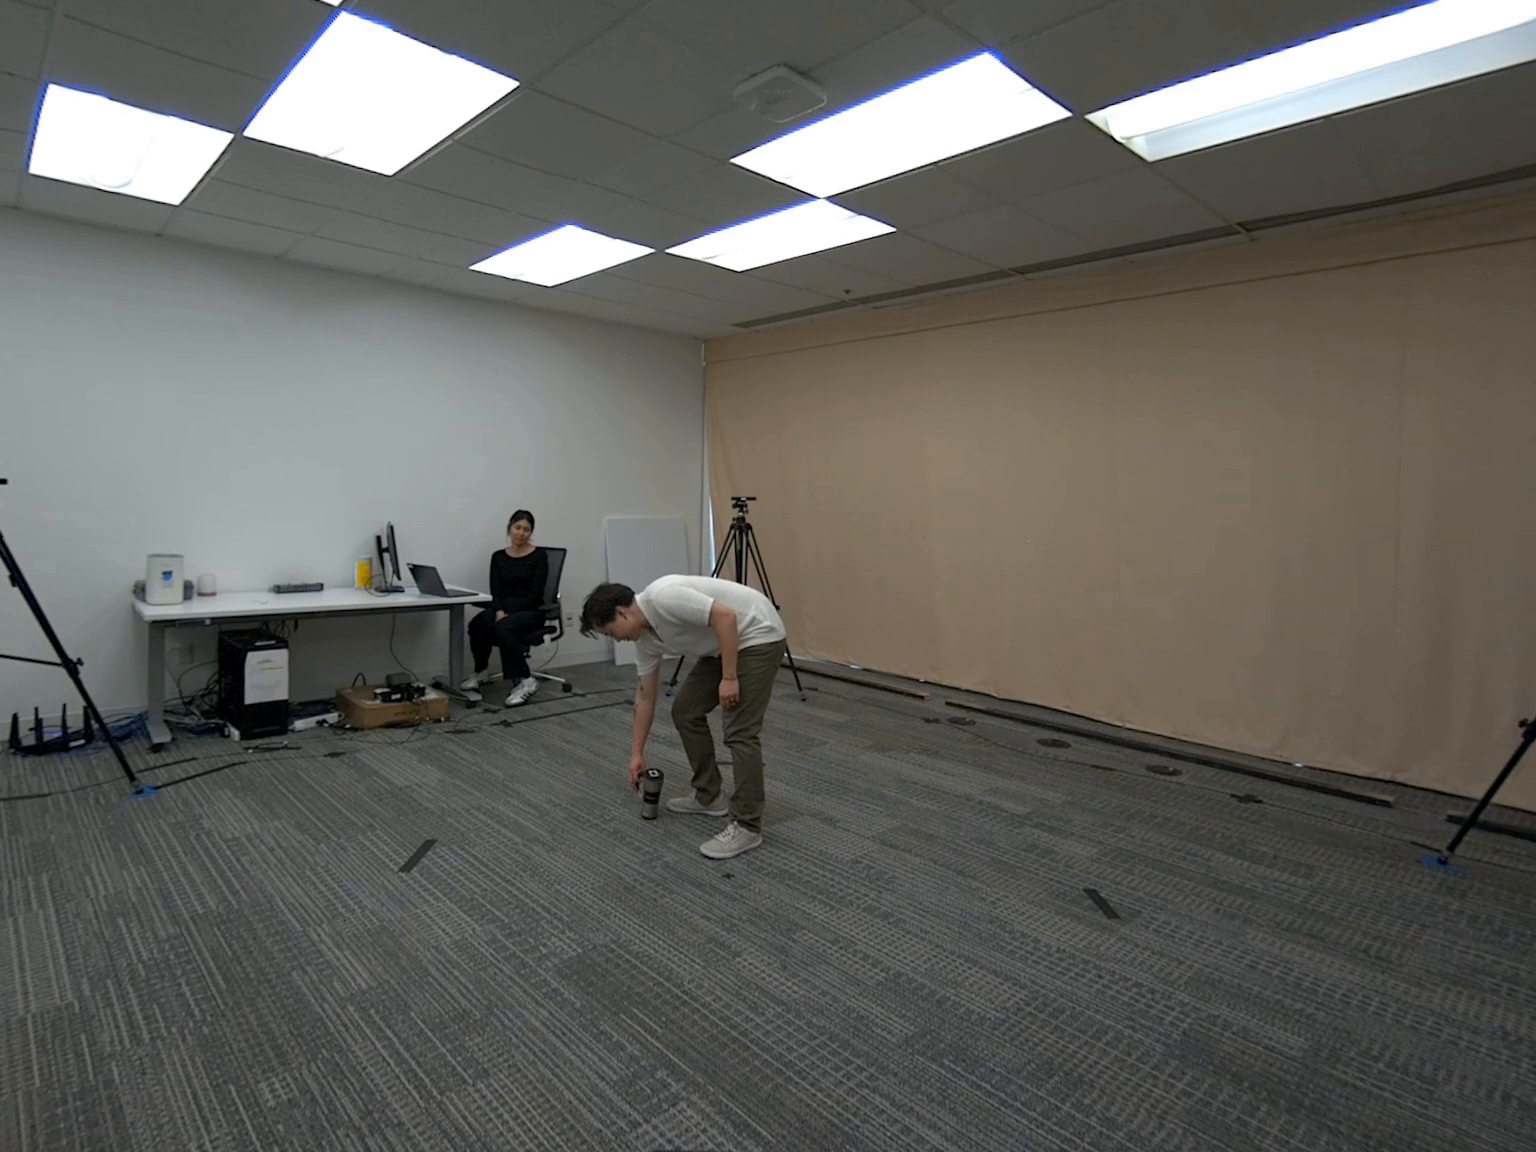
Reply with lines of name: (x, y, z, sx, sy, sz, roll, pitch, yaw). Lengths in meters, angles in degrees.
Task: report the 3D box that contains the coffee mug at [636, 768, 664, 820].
coffee mug: (-0.535, 0.938, 3.668, 0.086, 0.201, 0.126, -6, 22, -42)
